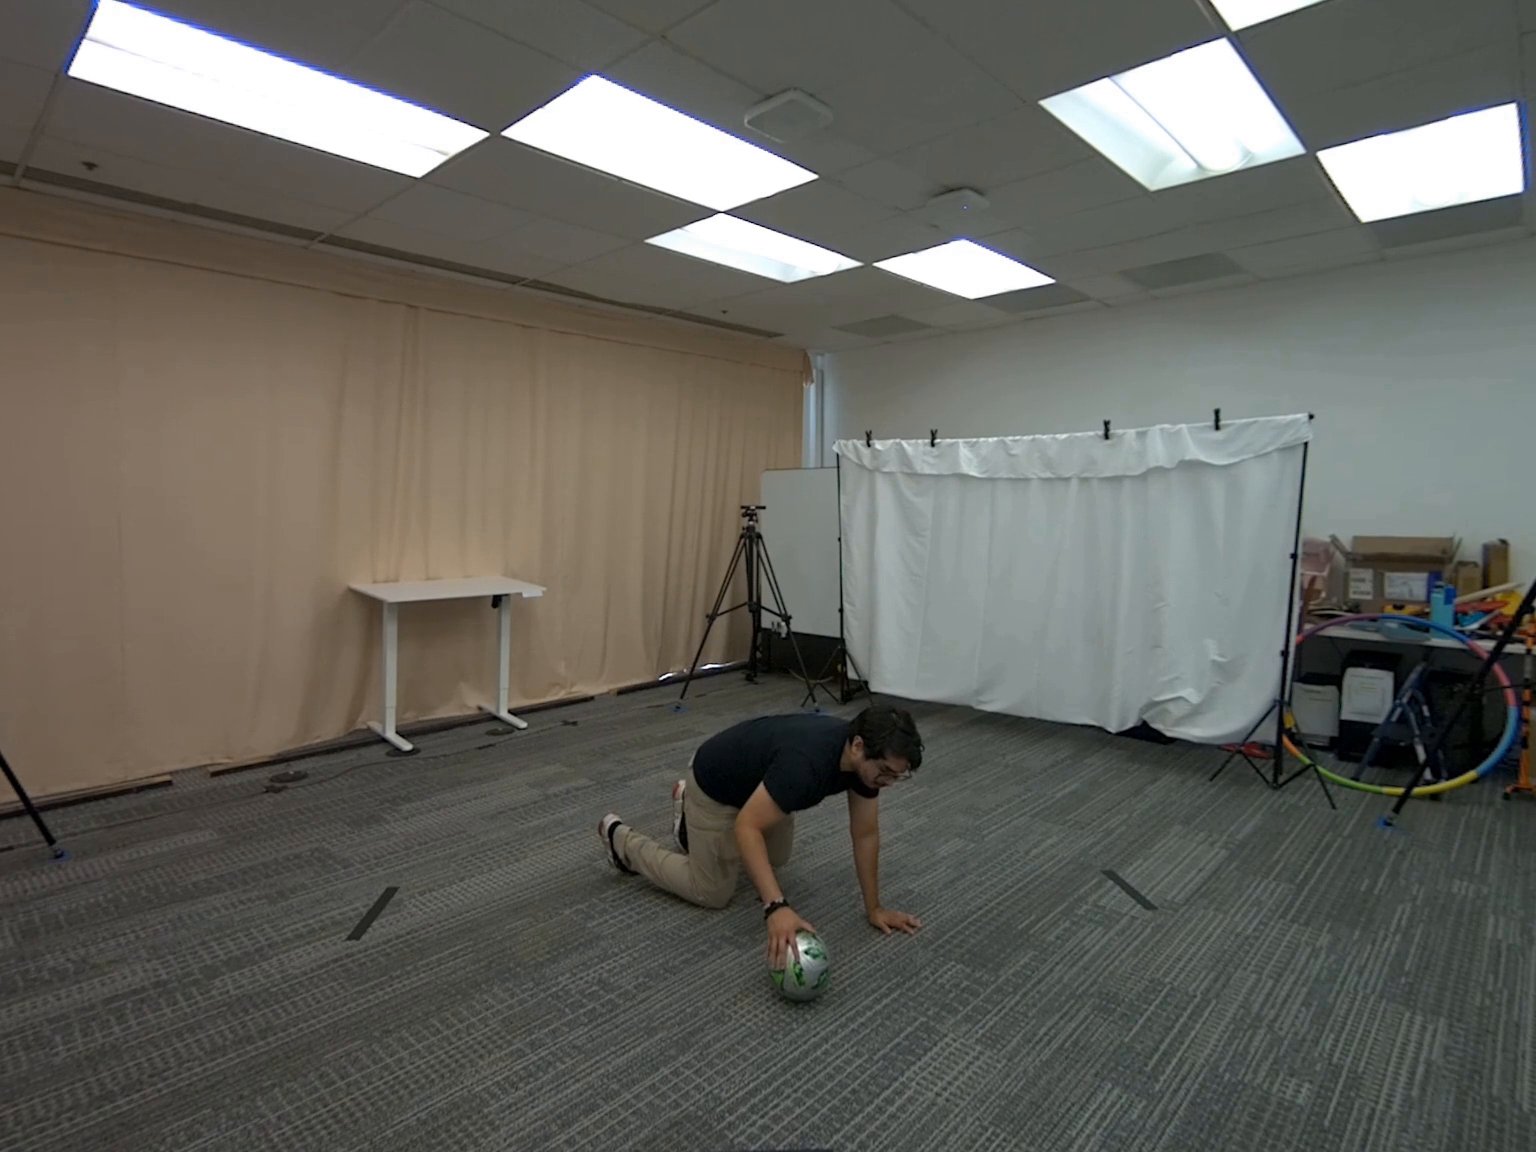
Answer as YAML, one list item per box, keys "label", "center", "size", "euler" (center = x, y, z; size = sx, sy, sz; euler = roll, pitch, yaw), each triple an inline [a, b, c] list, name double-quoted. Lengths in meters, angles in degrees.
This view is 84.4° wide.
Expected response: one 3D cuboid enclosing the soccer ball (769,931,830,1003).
- label: "soccer ball"
  center: [0.093, 1.093, 2.390]
  size: [0.187, 0.187, 0.188]
  euler: [0, 4, -2]
